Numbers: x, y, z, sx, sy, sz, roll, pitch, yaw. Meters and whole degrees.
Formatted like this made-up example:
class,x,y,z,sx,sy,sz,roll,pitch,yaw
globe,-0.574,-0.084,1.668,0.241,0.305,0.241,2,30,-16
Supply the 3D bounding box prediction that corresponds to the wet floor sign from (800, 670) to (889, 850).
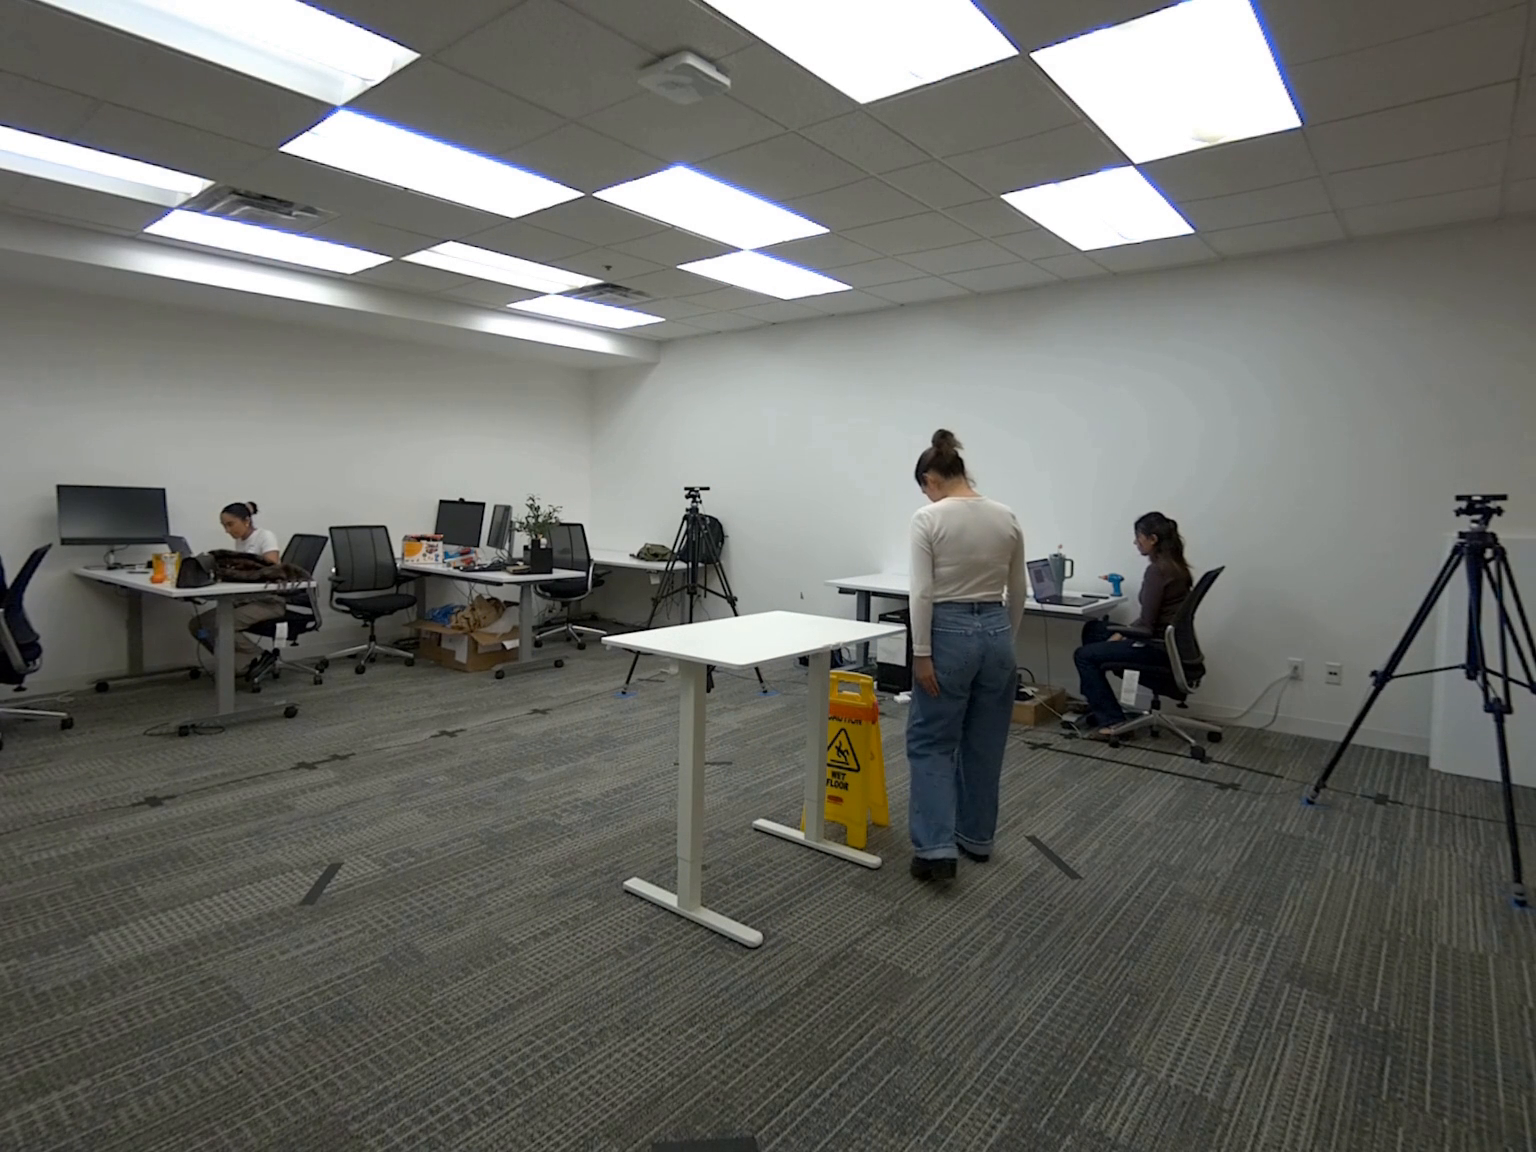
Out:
class,x,y,z,sx,sy,sz,roll,pitch,yaw
wet floor sign,0.321,0.715,3.478,0.291,0.644,0.282,4,3,30
